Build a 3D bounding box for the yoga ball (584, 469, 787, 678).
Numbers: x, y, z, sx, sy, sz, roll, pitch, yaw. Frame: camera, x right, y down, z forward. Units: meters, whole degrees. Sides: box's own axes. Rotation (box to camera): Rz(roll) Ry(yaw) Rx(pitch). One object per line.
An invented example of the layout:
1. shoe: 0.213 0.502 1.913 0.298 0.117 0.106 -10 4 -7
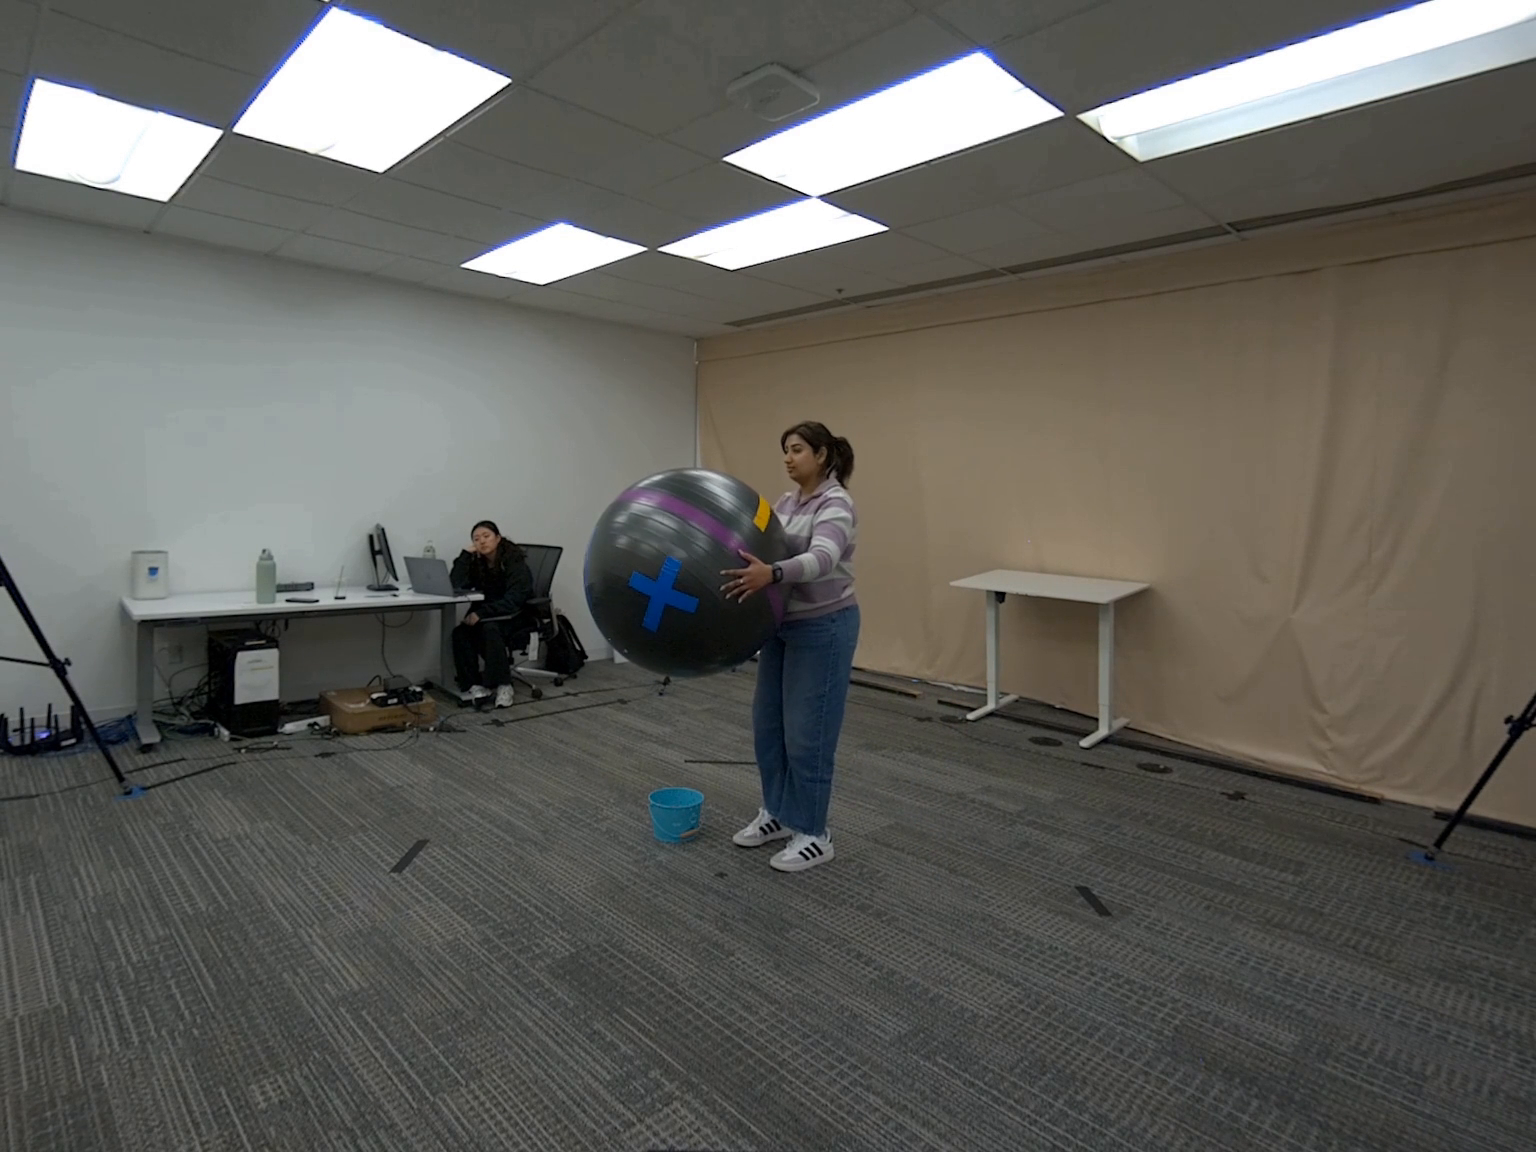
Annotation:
1. yoga ball: -0.296 -0.008 3.050 0.757 0.756 0.761 1 4 -1
